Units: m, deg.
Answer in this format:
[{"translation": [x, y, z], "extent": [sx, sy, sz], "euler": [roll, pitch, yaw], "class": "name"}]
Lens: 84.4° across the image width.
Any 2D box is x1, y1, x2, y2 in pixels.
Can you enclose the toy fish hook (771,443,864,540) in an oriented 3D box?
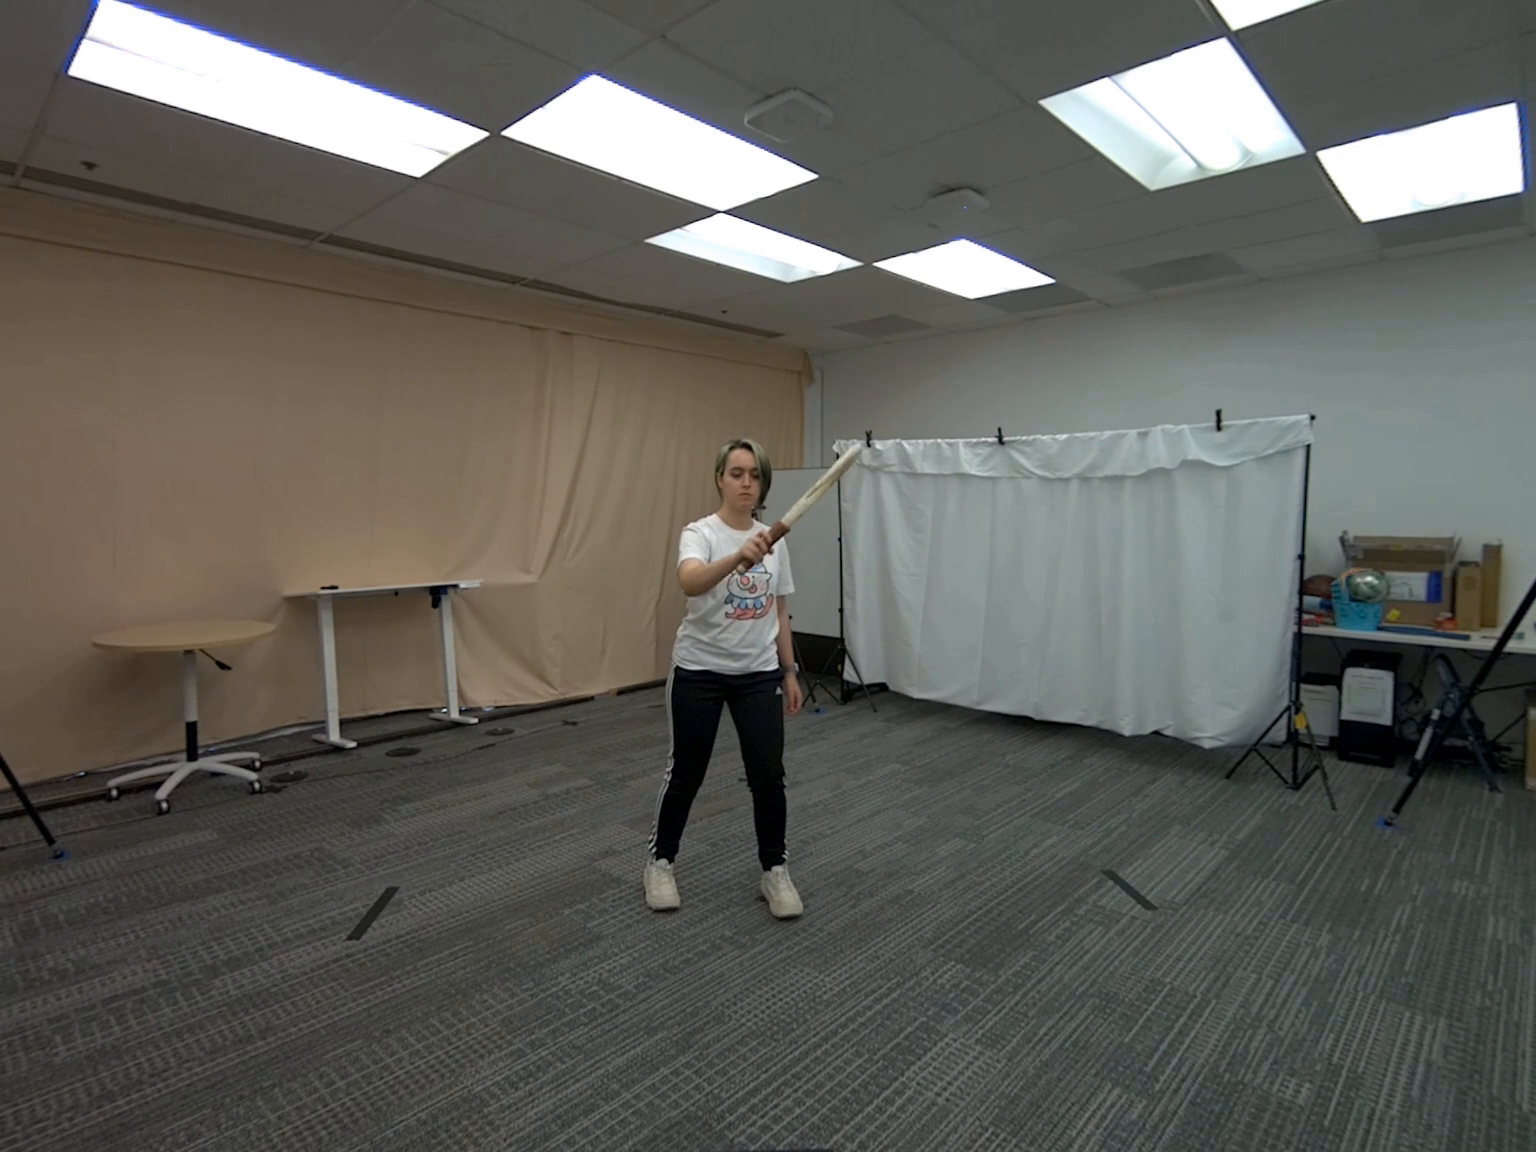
[{"translation": [0.071, -0.158, 2.322], "extent": [0.049, 0.508, 0.222], "euler": [42, 11, 6], "class": "toy fish hook"}]
